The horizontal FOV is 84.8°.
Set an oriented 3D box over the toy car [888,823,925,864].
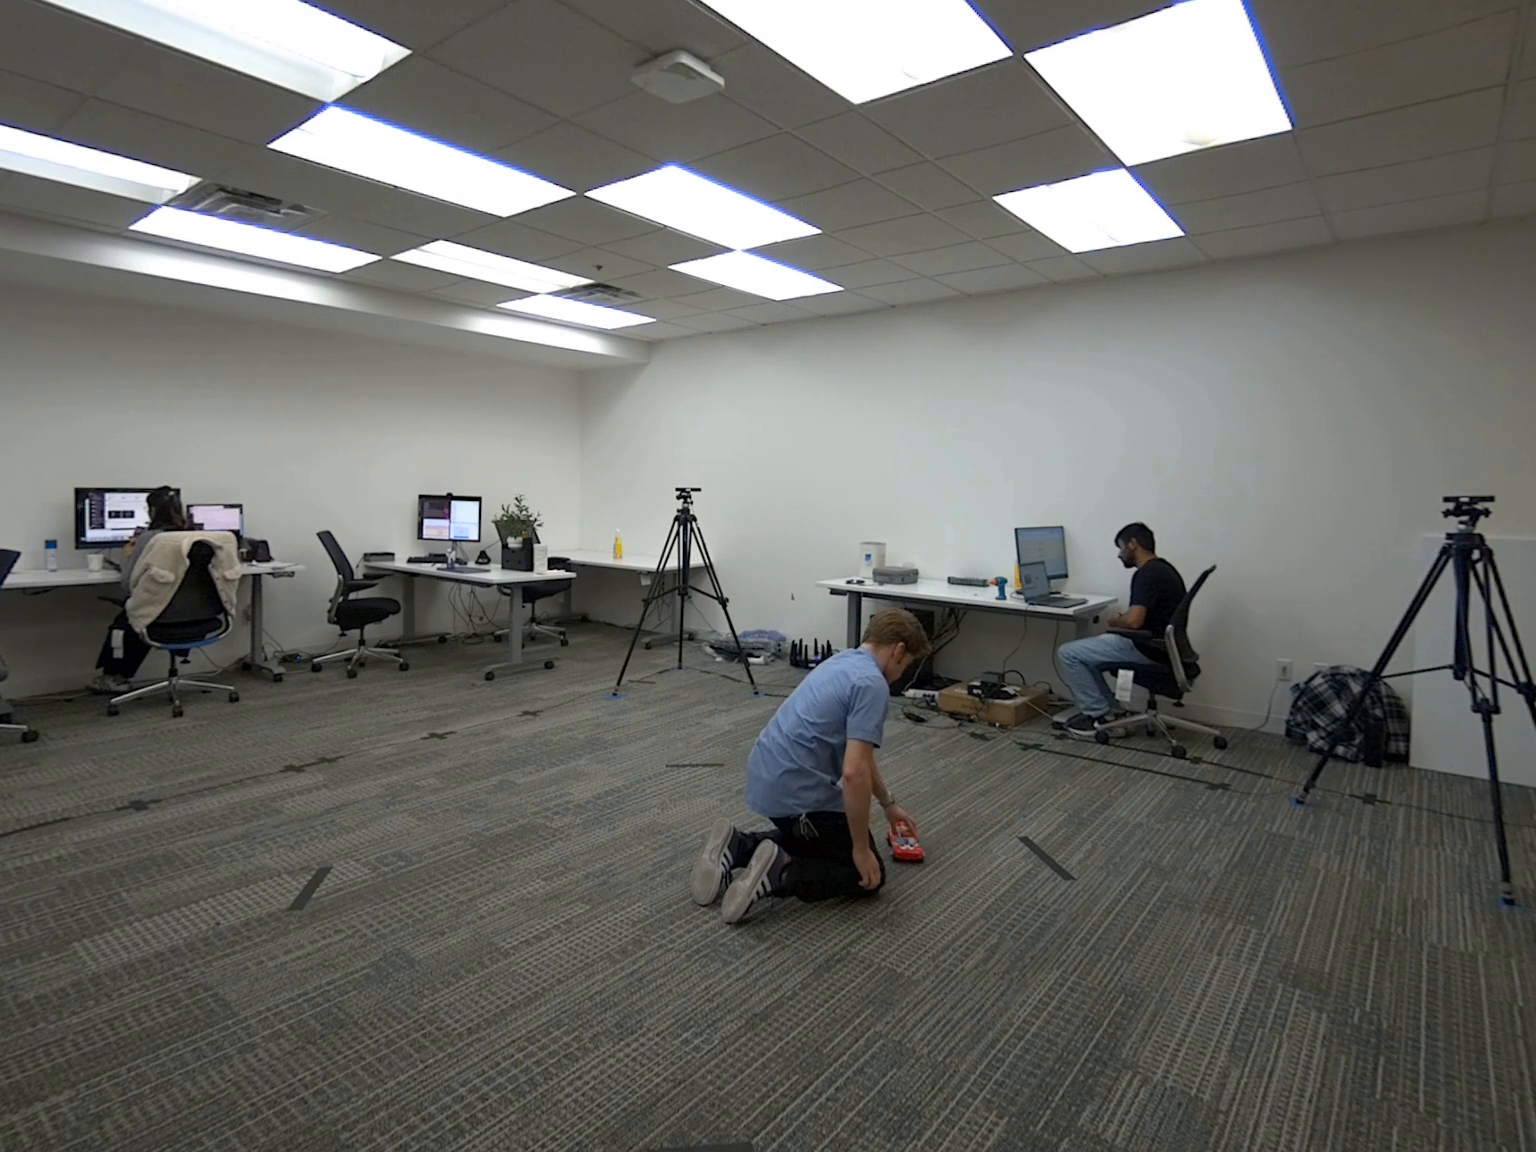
[{"bbox_3d":[0.525,1.032,3.310,0.131,0.082,0.257,1,16,2],"label":"toy car"}]
